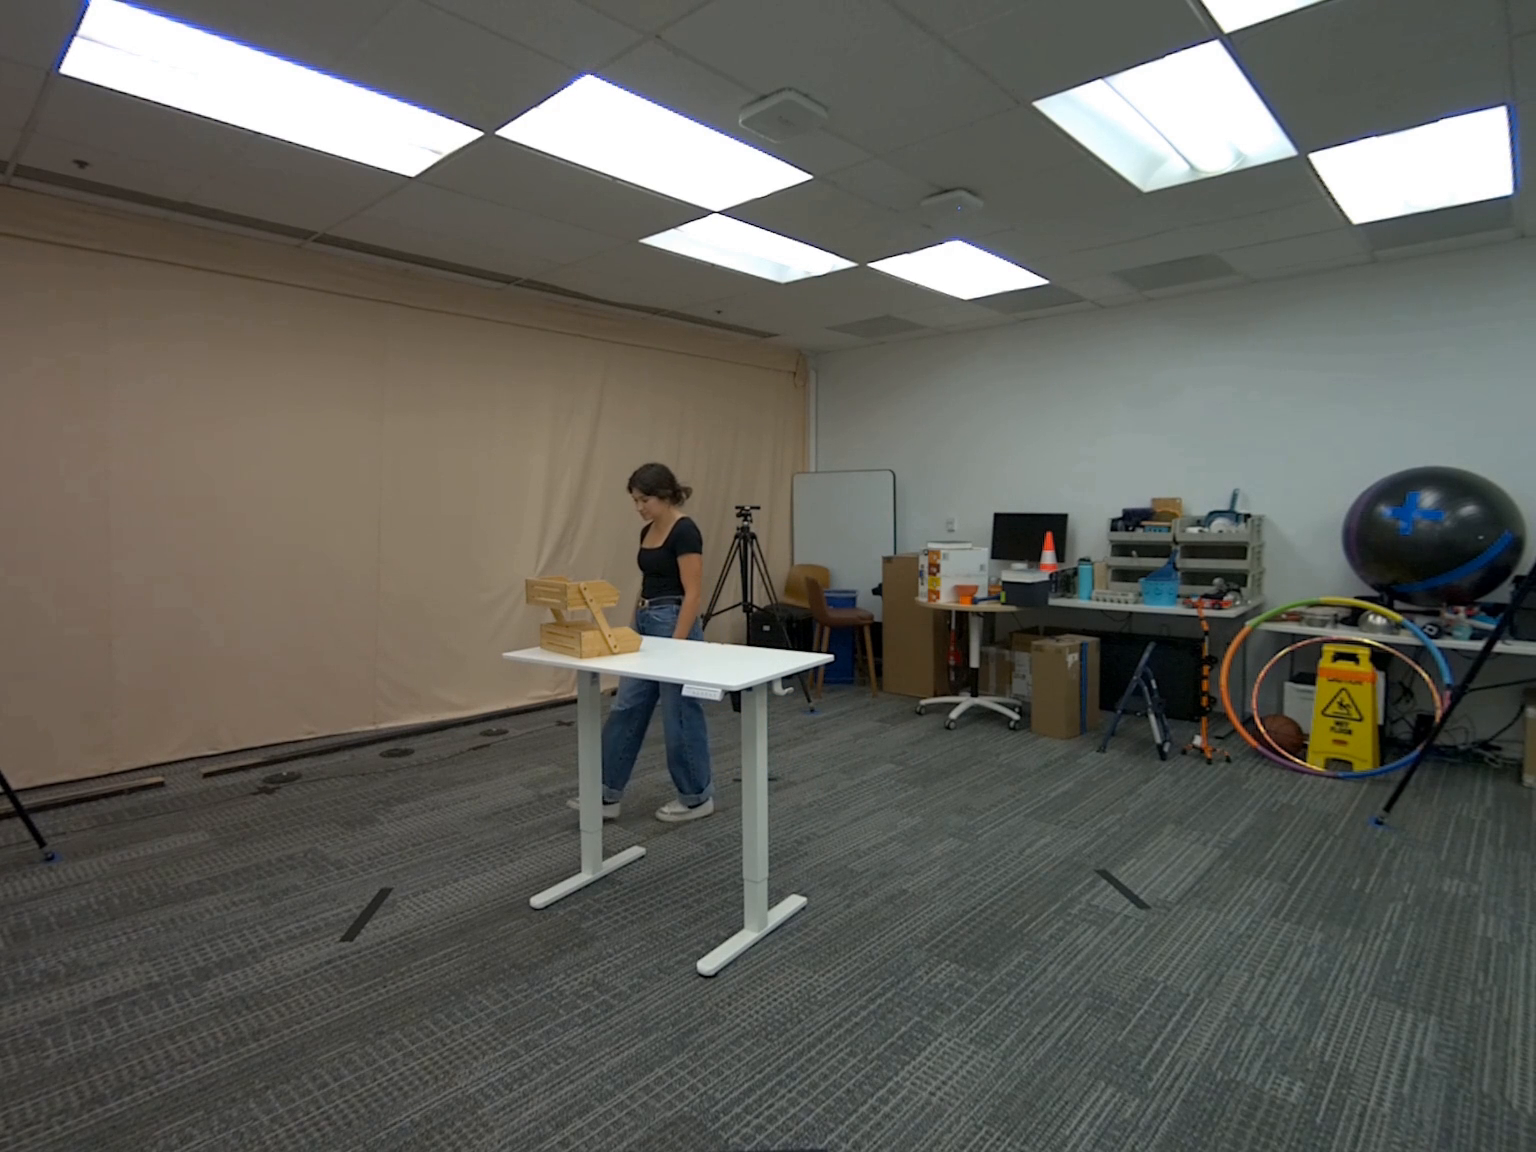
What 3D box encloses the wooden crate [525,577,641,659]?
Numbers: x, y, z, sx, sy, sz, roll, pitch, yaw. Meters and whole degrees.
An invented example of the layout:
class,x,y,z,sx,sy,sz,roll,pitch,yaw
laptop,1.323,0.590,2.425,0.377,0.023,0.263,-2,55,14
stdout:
class,x,y,z,sx,sy,sz,roll,pitch,yaw
wooden crate,-0.652,0.135,3.005,0.293,0.273,0.335,-4,5,-40
